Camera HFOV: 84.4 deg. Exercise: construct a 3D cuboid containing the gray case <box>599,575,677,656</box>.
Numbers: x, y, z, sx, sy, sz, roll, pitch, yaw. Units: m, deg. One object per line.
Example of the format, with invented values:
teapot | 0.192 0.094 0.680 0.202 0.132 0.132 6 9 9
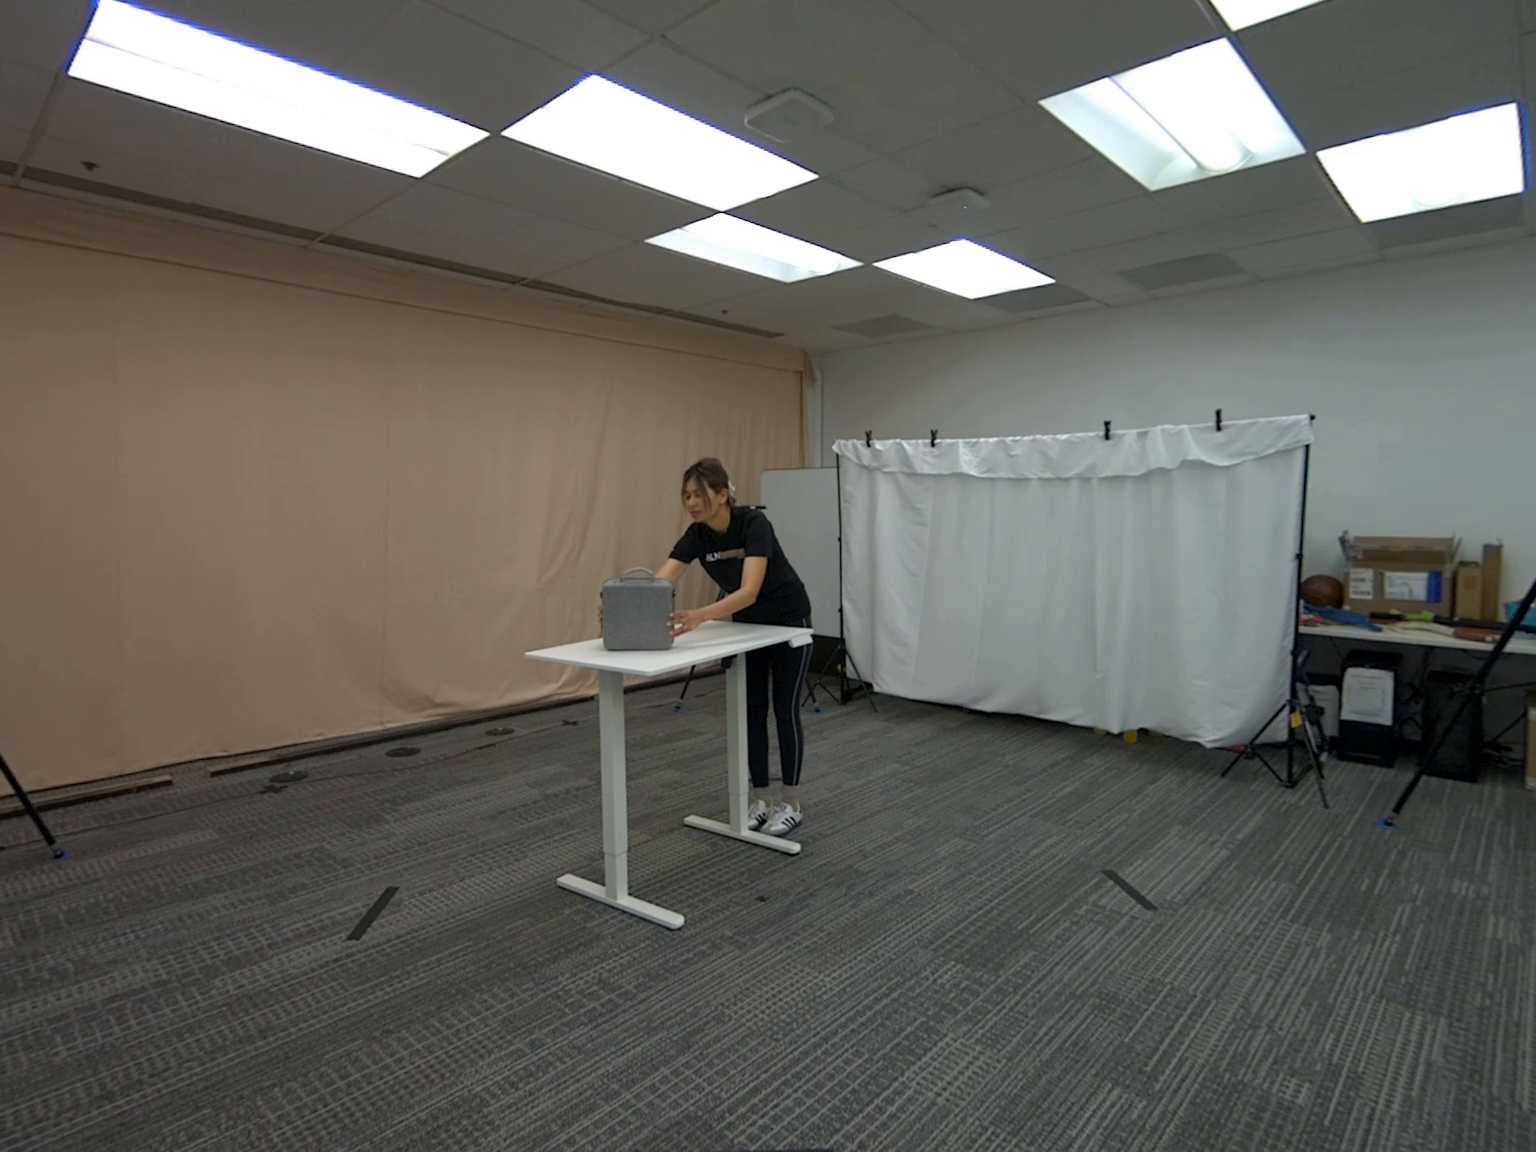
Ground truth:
gray case | -0.457 0.134 2.992 0.256 0.259 0.105 -1 9 -1
